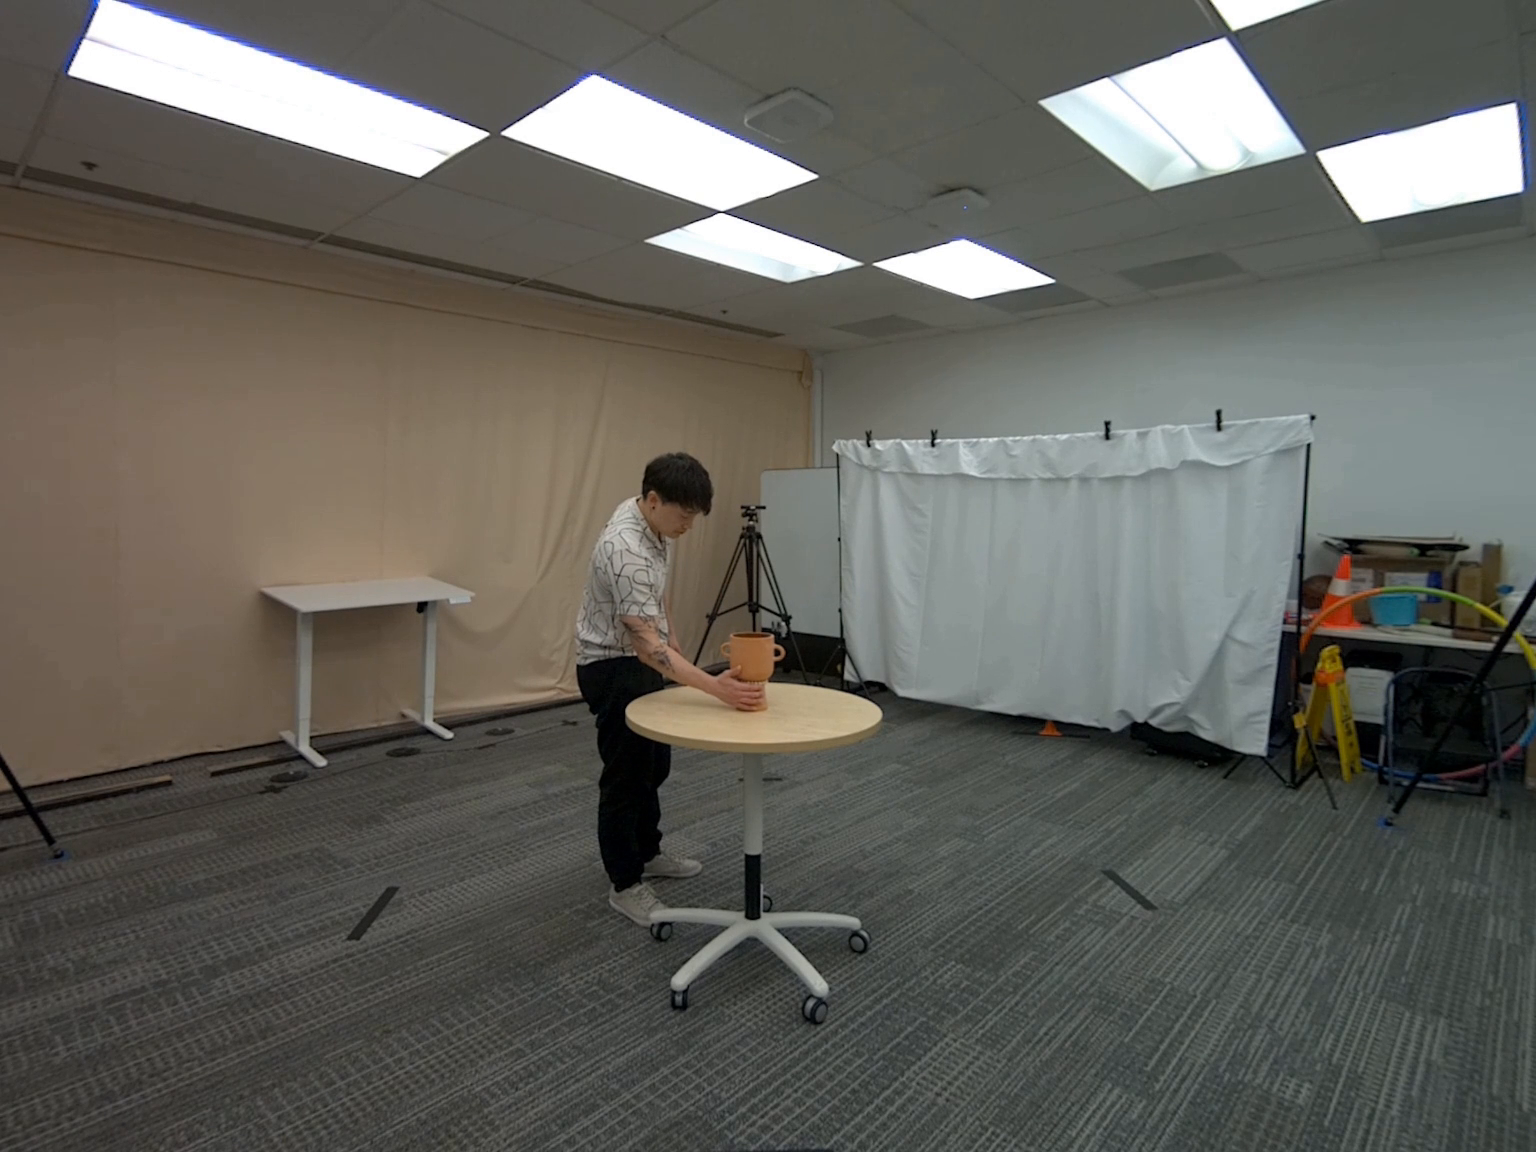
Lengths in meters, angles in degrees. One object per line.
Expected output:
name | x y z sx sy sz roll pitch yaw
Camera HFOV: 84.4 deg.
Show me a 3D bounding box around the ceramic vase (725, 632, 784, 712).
ceramic vase | -0.046 0.291 2.526 0.131 0.219 0.164 -2 4 -37
